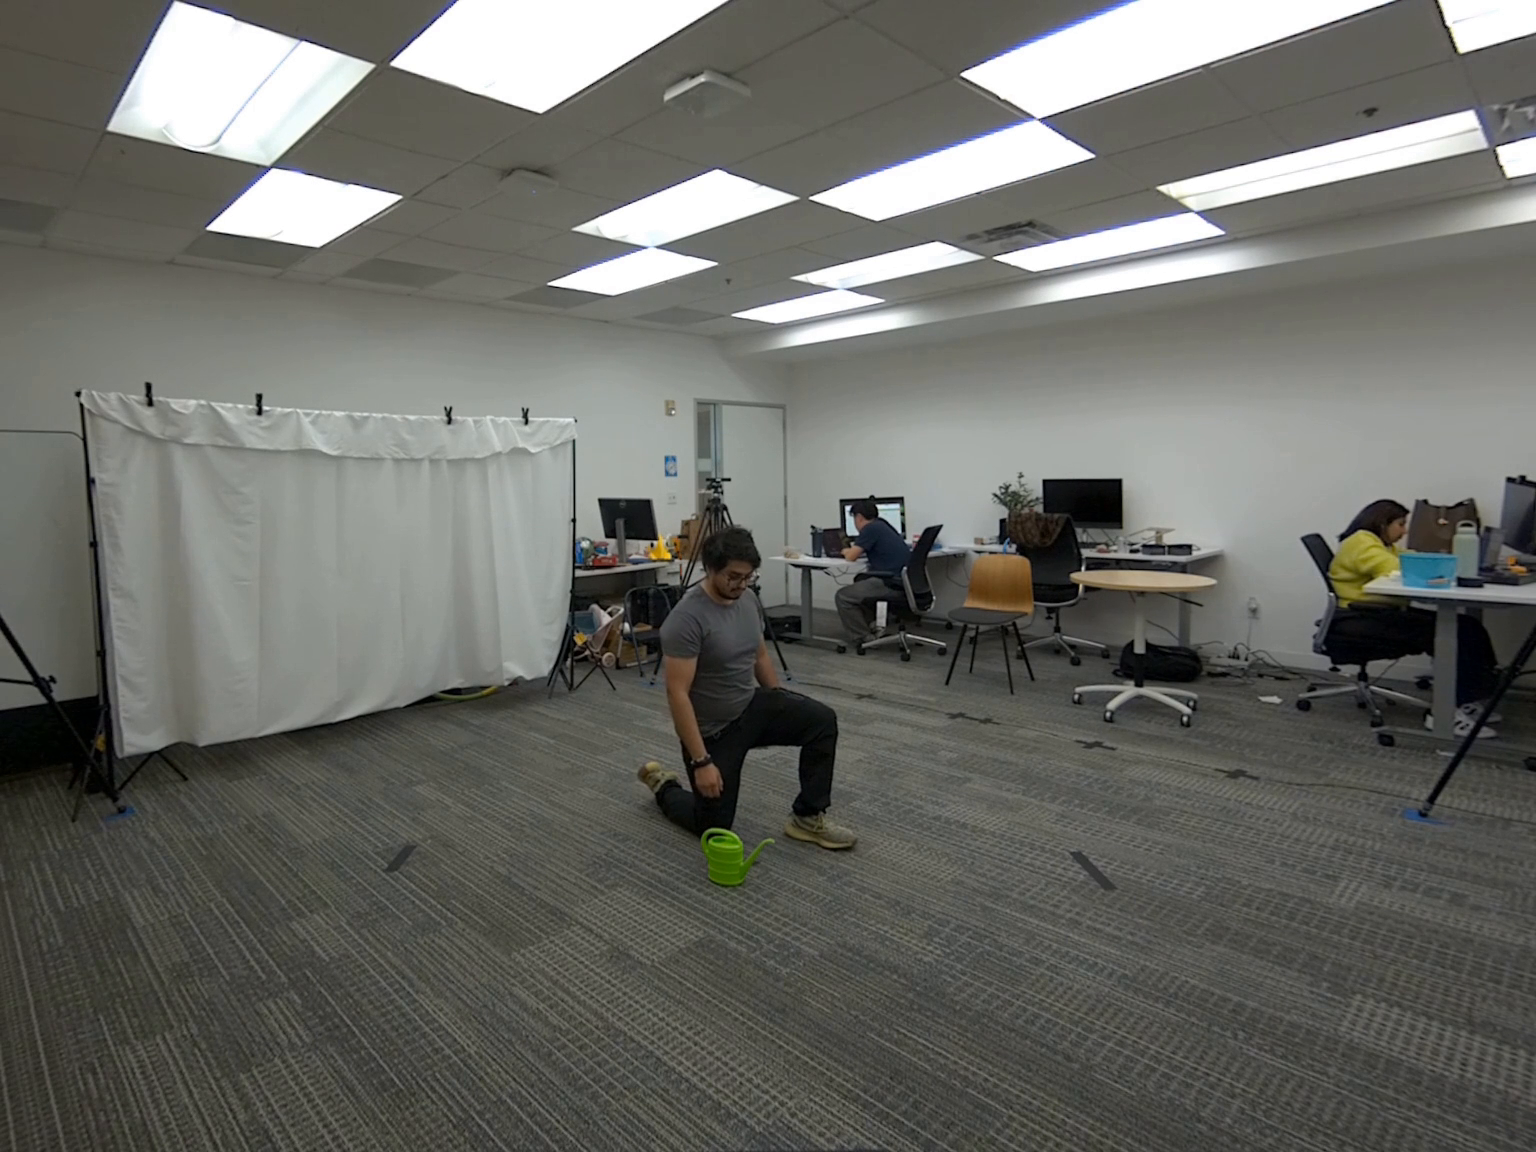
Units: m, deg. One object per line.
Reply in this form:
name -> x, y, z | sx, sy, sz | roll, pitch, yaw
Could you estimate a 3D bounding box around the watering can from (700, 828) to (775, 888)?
watering can -> -0.111, 0.976, 2.941 | 0.287, 0.176, 0.095 | 4, 7, 41
